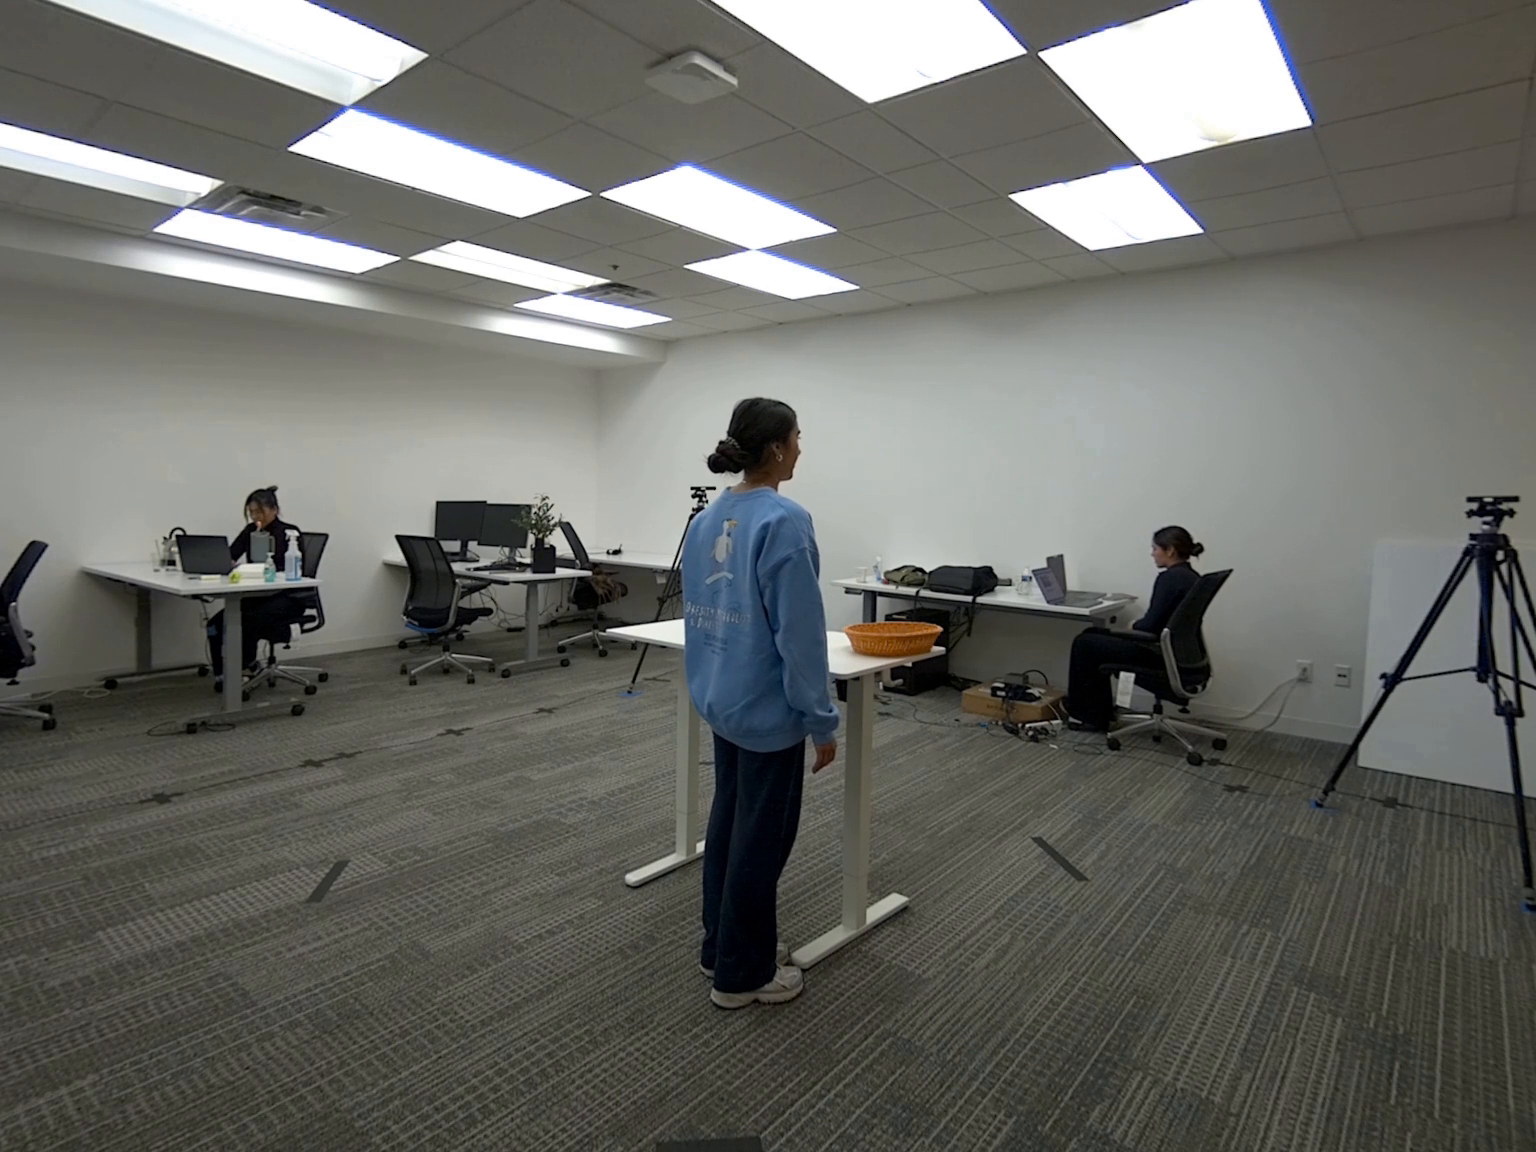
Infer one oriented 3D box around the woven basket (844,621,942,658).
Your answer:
[{"bbox_3d":[0.386,0.205,2.708,0.340,0.073,0.261,-3,6,-37],"label":"woven basket"}]
